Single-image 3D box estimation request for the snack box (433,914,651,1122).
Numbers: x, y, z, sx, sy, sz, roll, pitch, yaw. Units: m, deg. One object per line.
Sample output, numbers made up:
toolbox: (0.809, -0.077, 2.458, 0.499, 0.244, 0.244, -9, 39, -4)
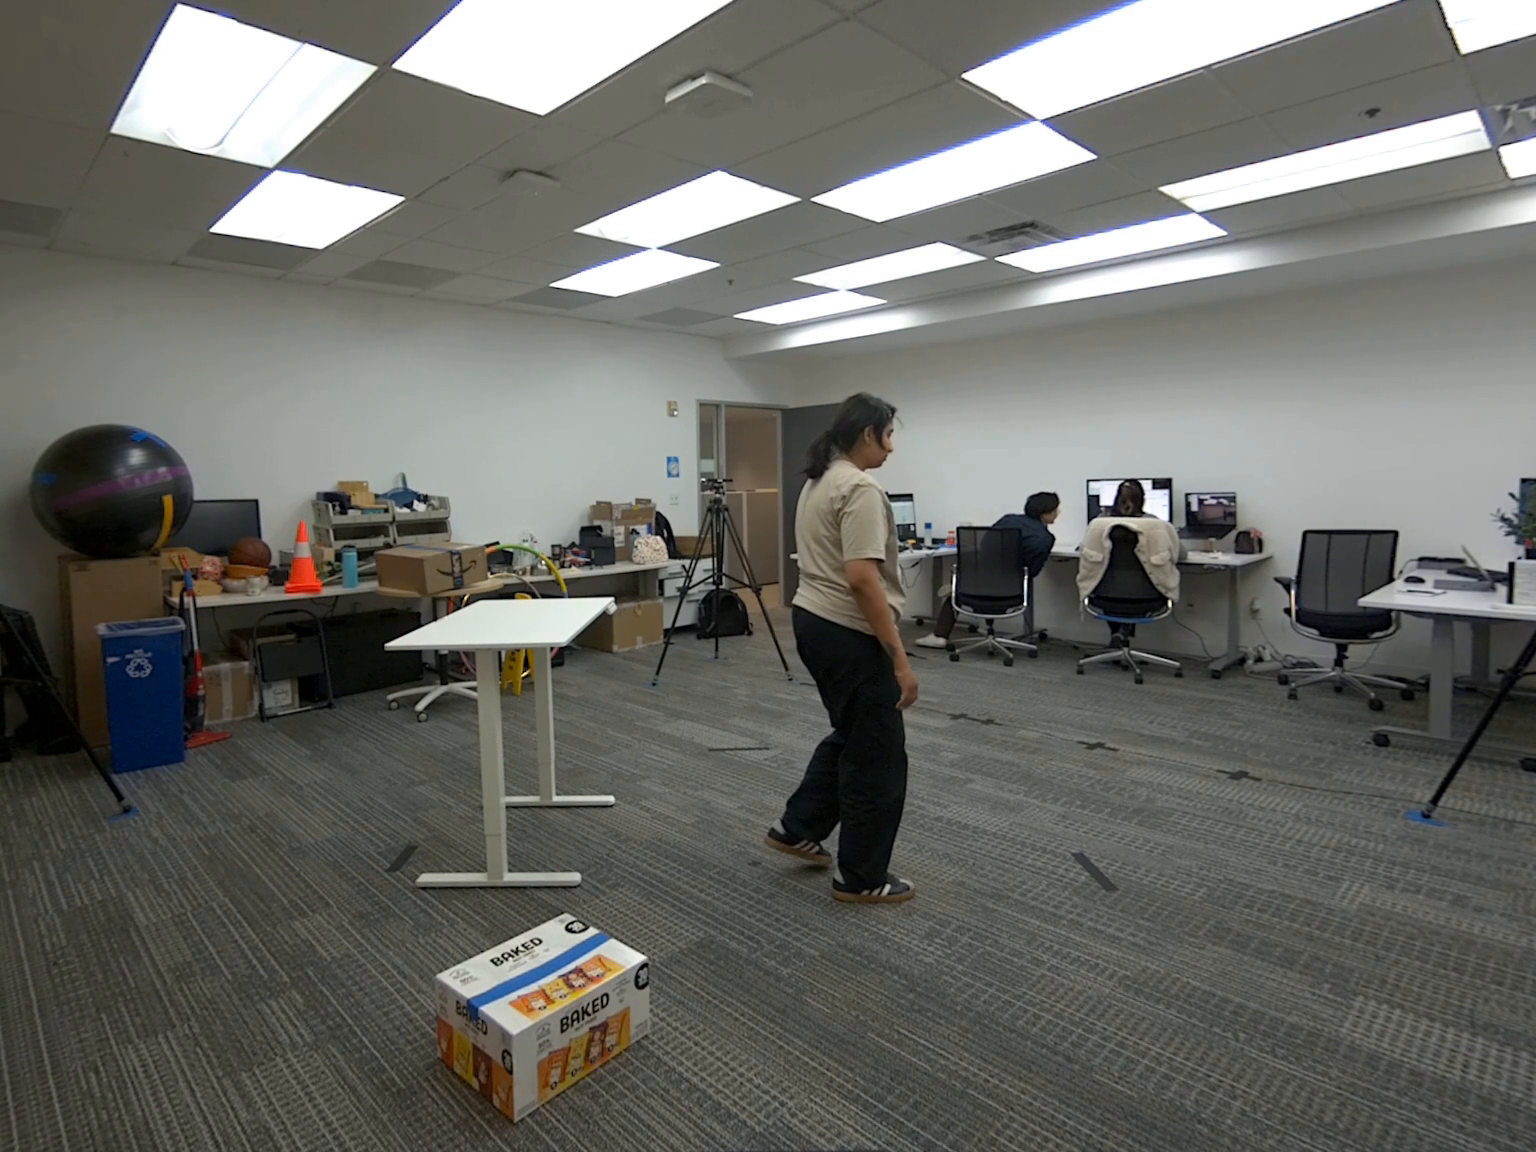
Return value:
snack box: (-0.550, 1.071, 2.123, 0.351, 0.205, 0.395, 5, 8, 41)
